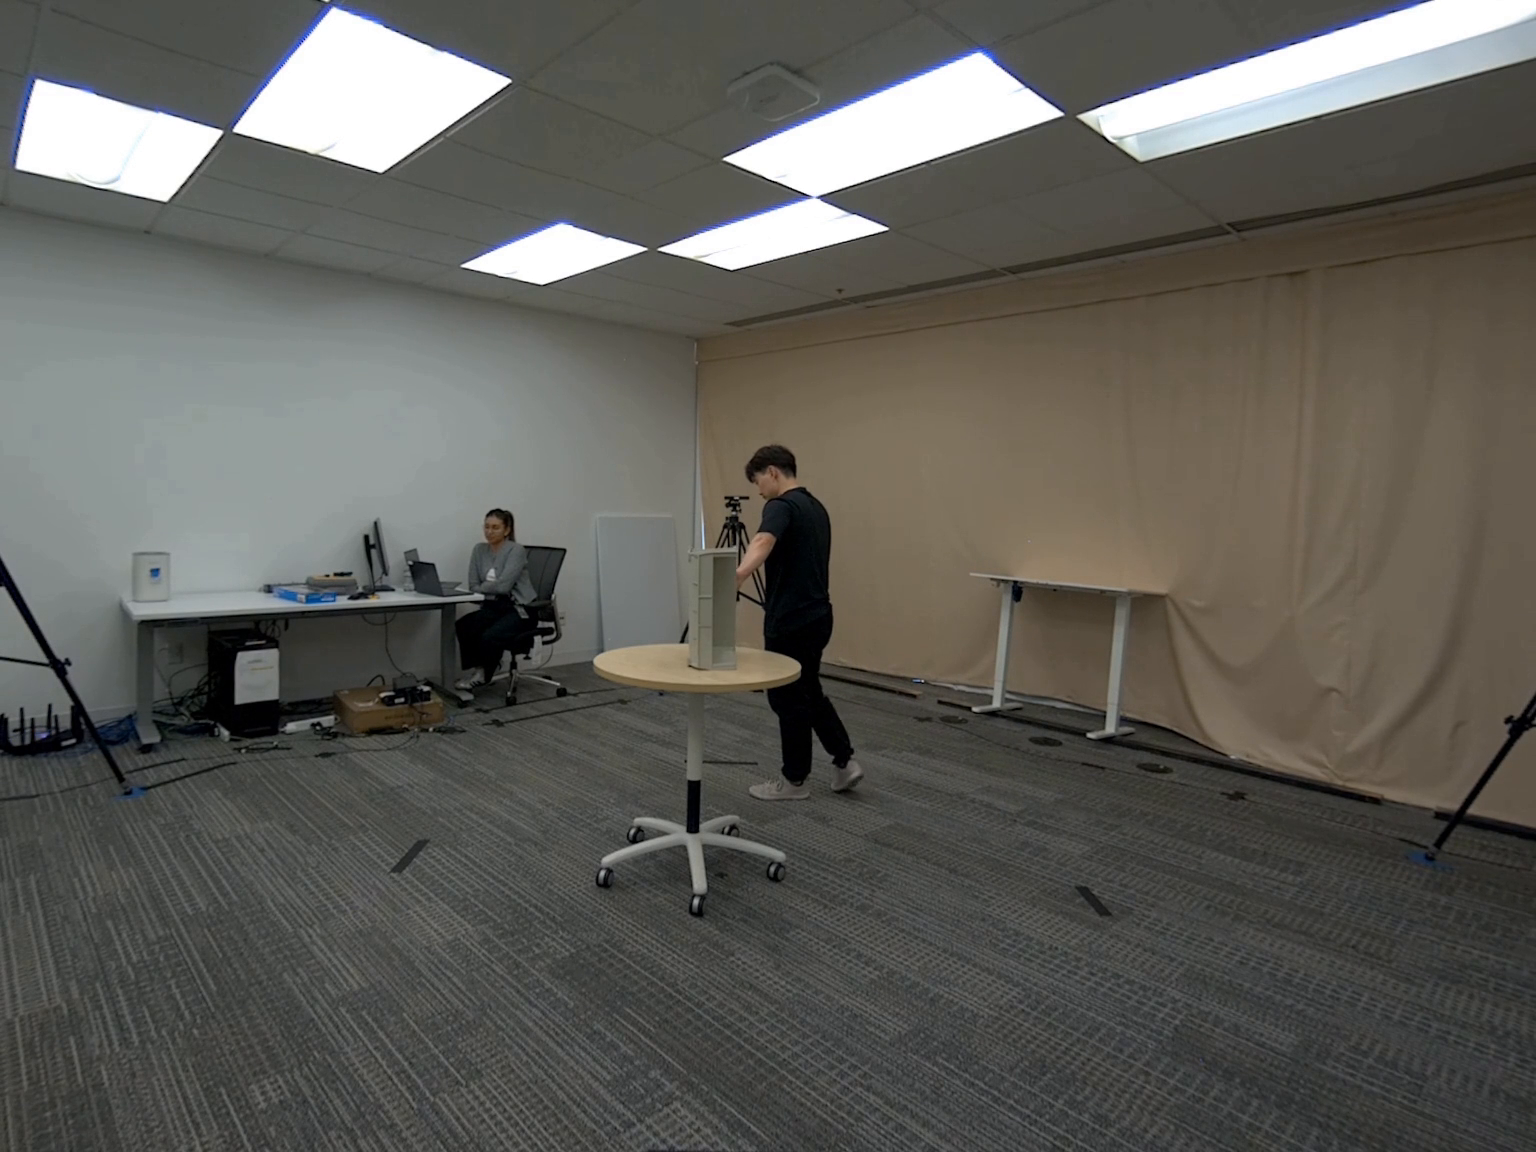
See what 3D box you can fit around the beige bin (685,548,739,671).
[{"bbox_3d":[-0.208,0.110,3.137,0.189,0.421,0.379,0,4,-2],"label":"beige bin"}]
